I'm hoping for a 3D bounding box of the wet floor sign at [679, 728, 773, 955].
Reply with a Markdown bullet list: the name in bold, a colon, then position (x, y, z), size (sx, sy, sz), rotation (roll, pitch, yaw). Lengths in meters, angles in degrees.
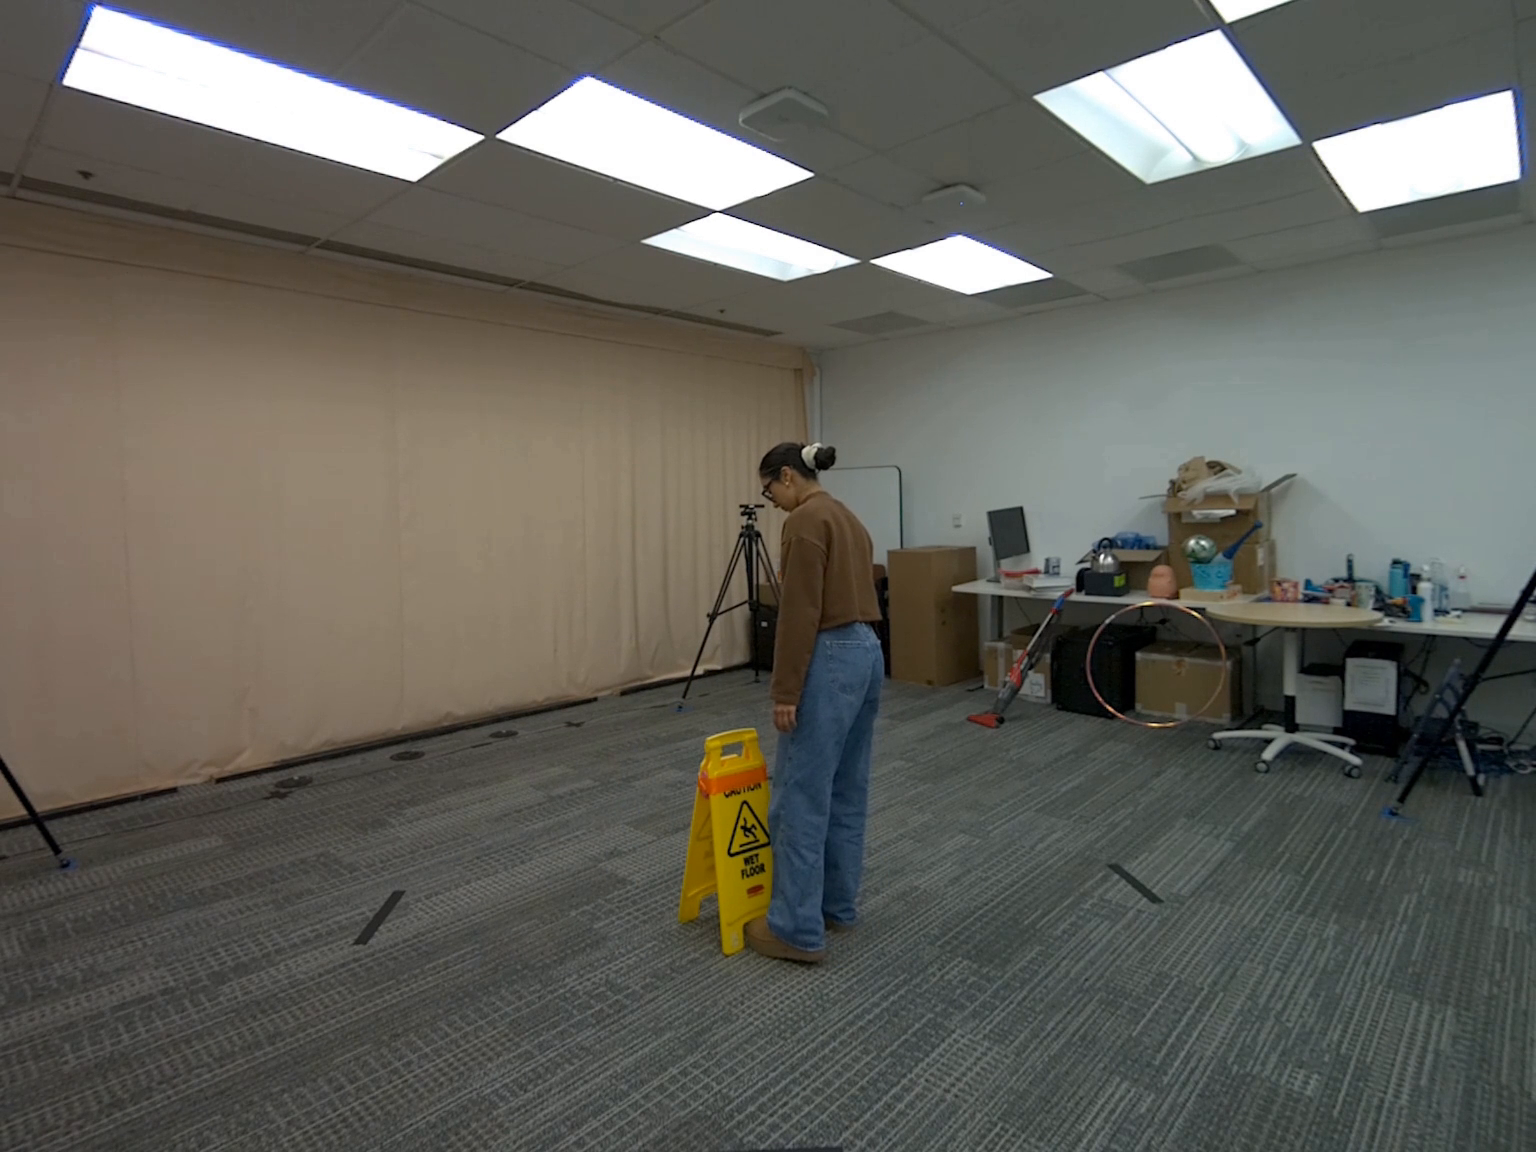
- **wet floor sign**: position (-0.114, 0.840, 2.777), size (0.274, 0.644, 0.299), rotation (-5, 4, -34)
